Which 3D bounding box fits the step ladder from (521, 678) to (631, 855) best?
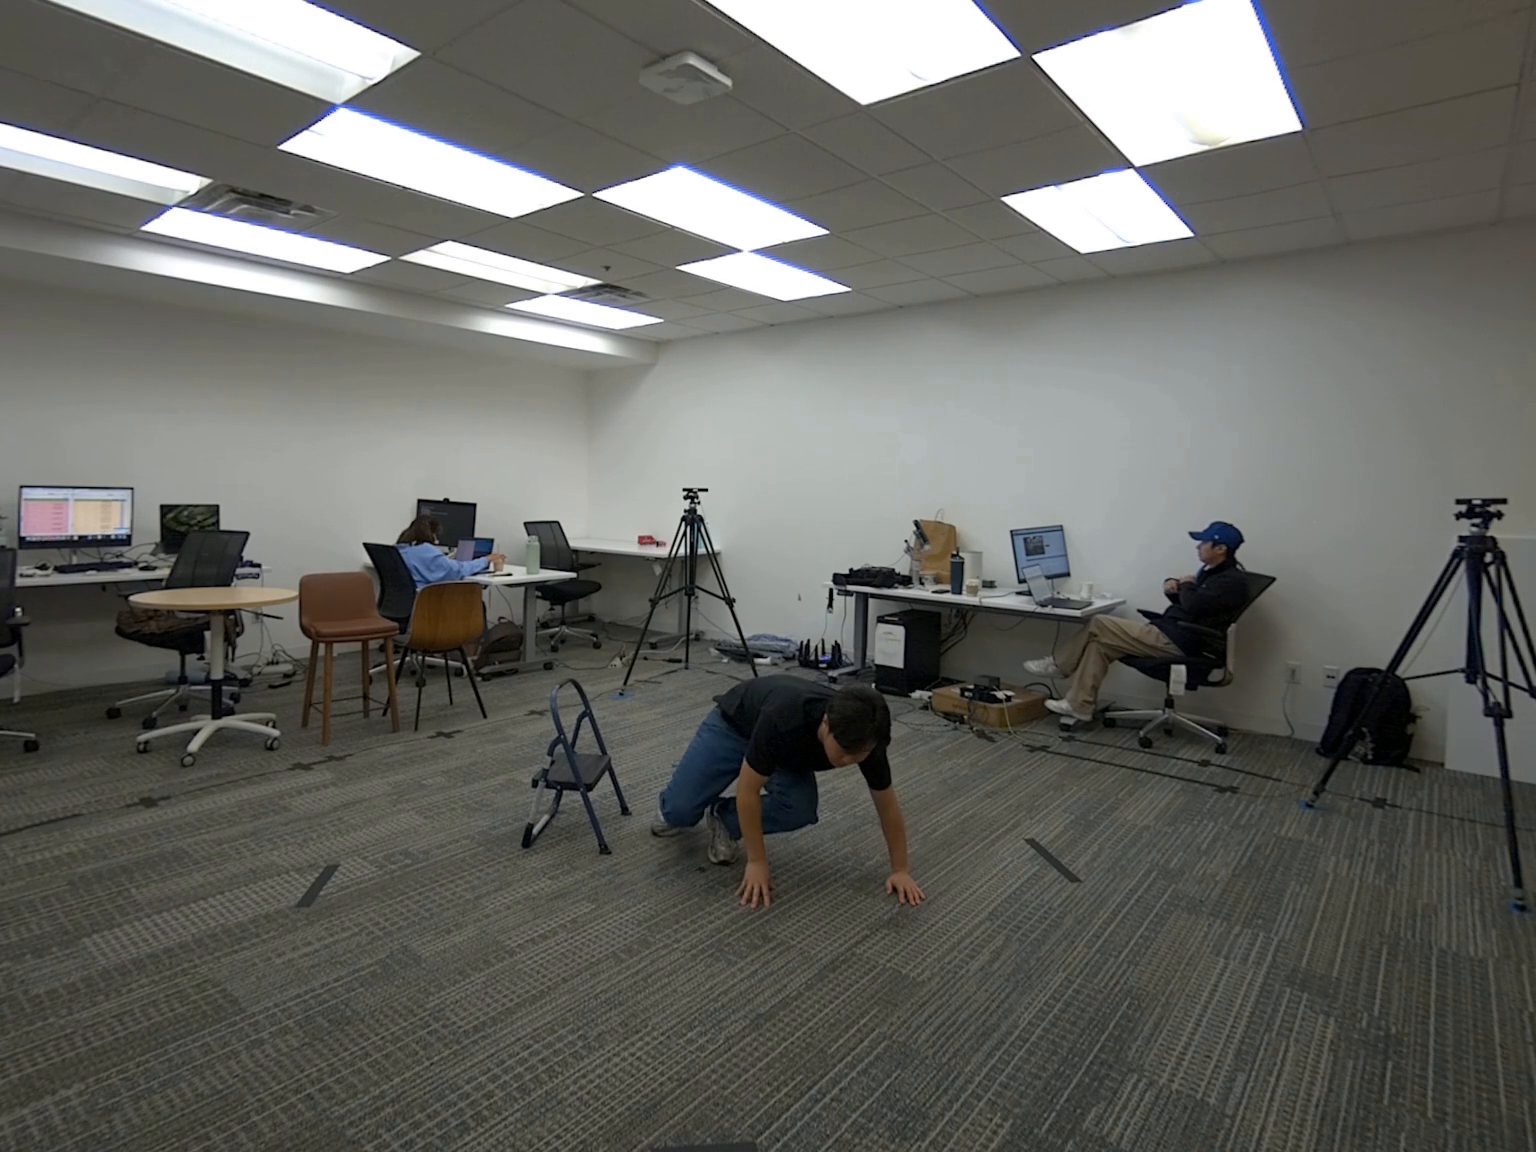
[{"bbox_3d":[-0.775,0.729,3.438,0.351,0.605,0.430,1,3,2],"label":"step ladder"}]
